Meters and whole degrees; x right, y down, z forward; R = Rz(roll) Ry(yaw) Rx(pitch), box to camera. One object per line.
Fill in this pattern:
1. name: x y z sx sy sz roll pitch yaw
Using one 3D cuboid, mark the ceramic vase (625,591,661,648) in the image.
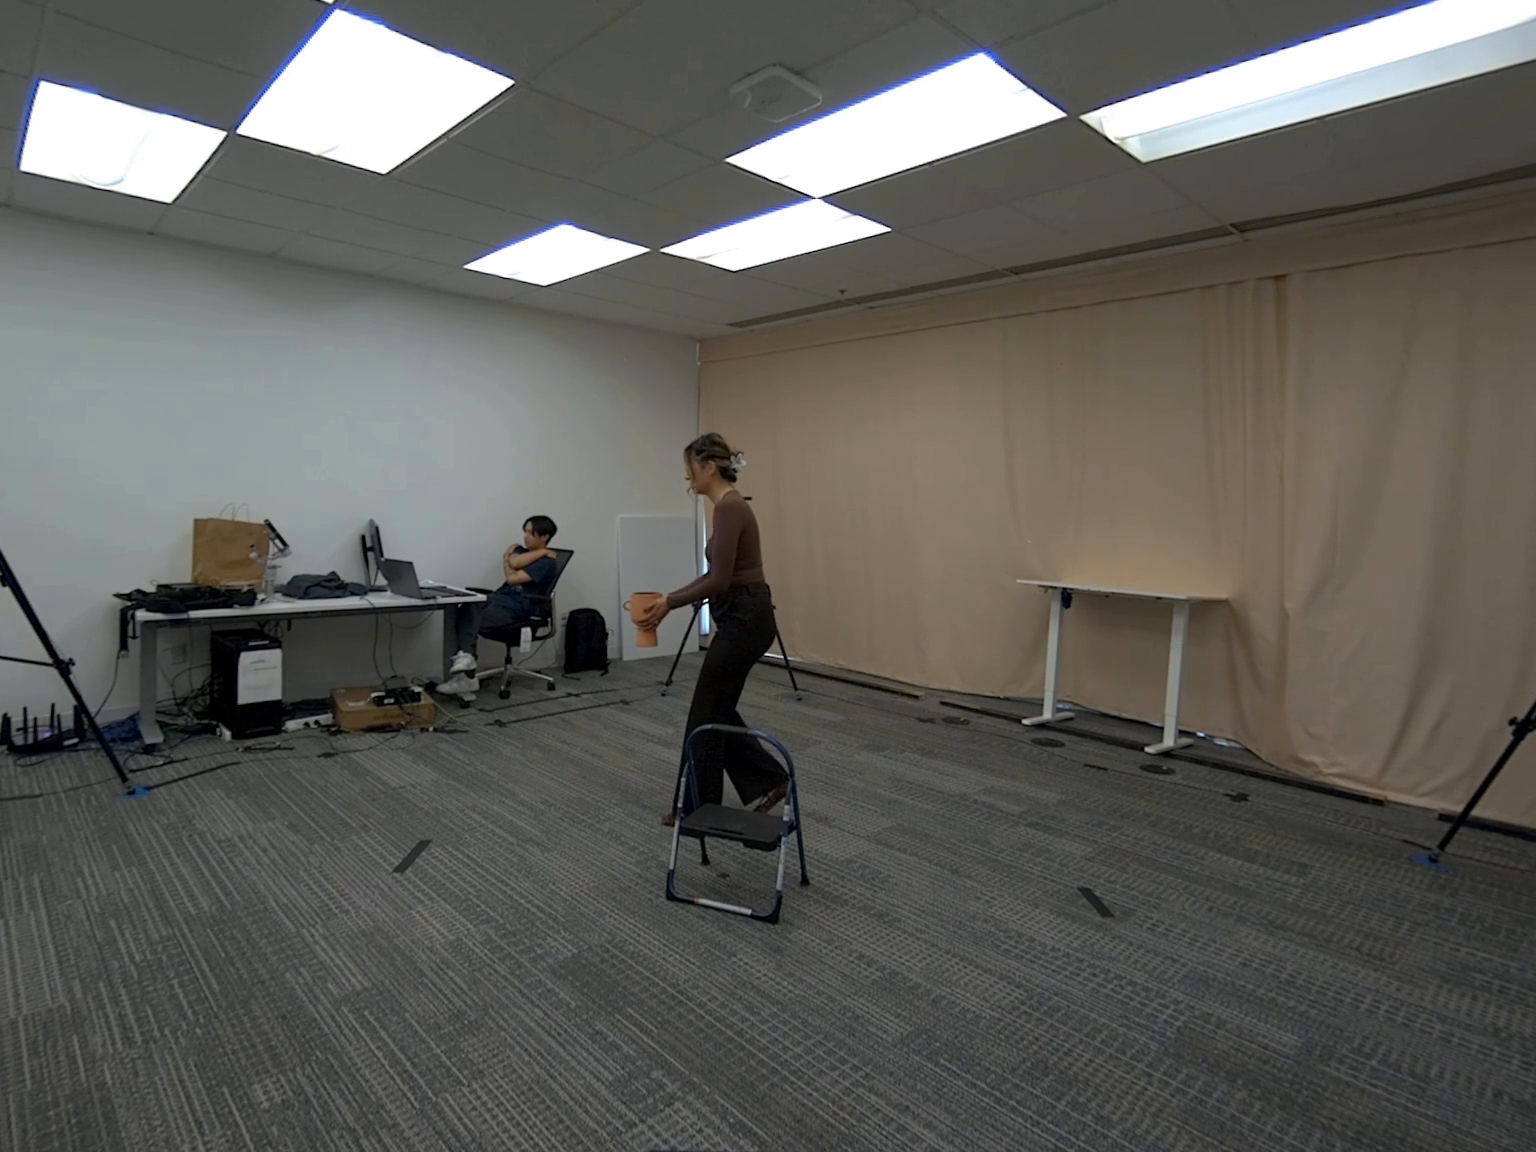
1. ceramic vase: -0.509 0.183 3.525 0.162 0.219 0.132 0 2 28
